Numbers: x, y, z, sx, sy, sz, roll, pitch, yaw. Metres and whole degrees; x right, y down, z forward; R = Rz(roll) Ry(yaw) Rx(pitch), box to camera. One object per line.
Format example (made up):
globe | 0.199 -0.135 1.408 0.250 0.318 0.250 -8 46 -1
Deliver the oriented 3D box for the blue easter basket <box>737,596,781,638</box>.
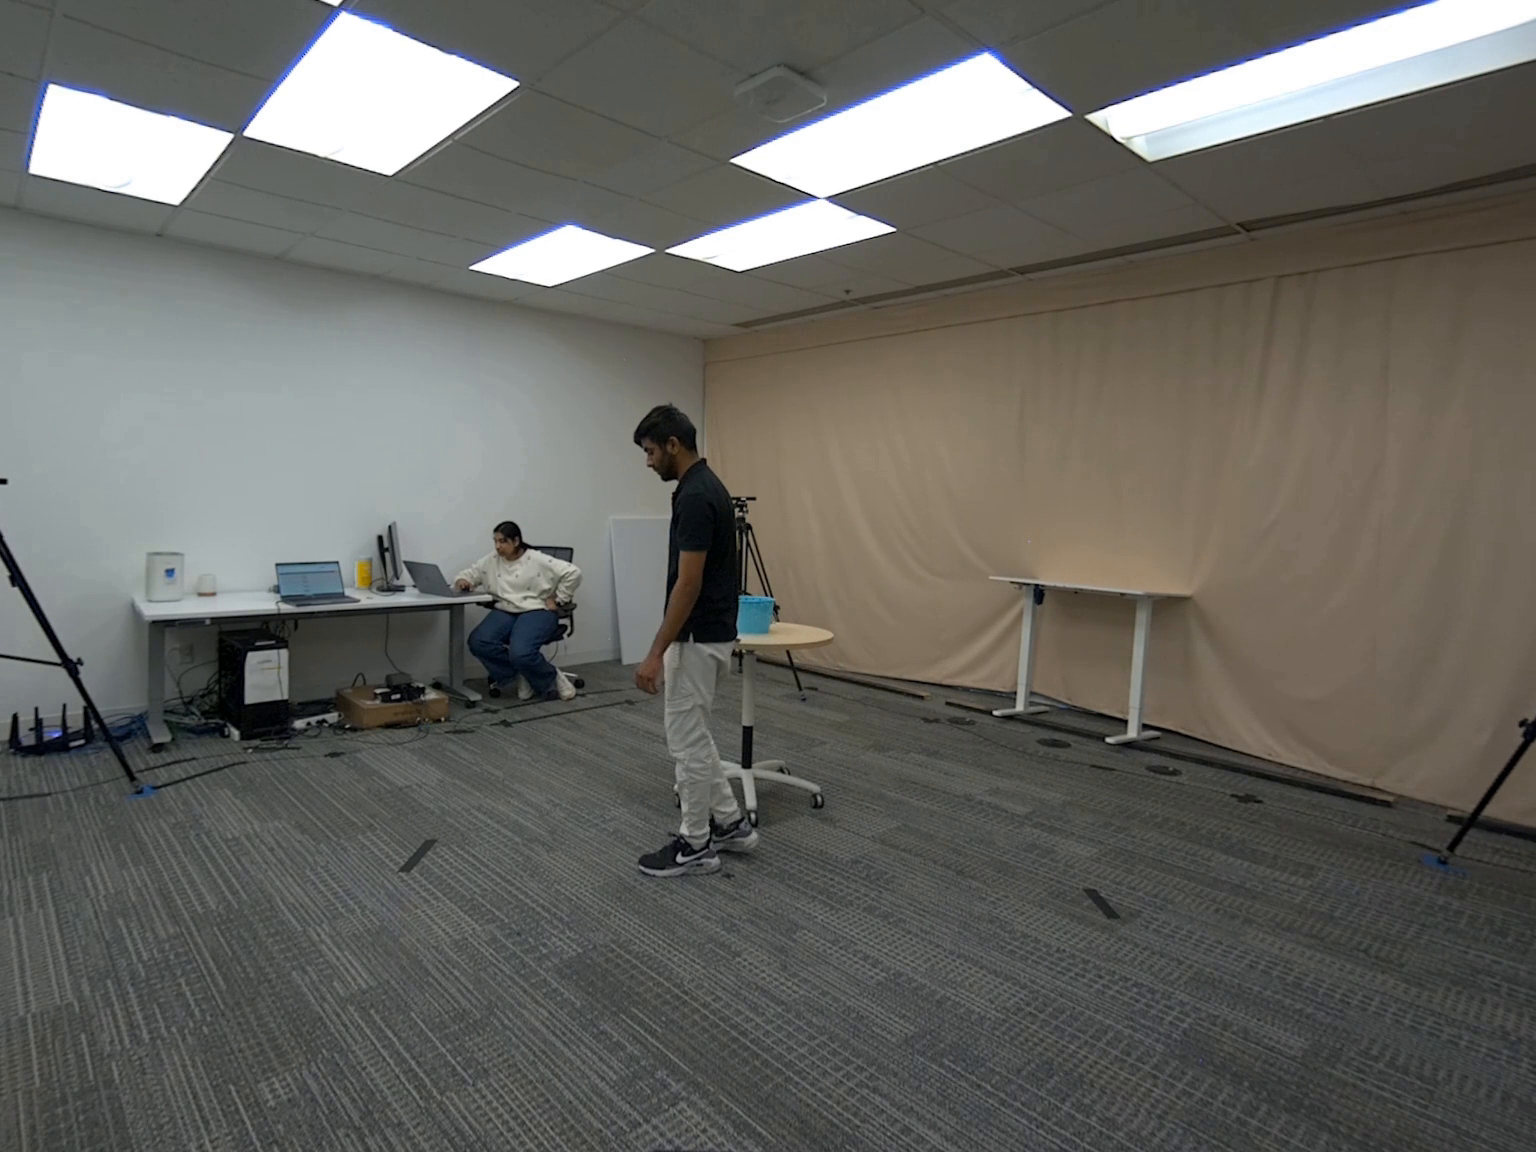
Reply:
blue easter basket | -0.077 0.185 3.910 0.243 0.155 0.244 2 4 -1
